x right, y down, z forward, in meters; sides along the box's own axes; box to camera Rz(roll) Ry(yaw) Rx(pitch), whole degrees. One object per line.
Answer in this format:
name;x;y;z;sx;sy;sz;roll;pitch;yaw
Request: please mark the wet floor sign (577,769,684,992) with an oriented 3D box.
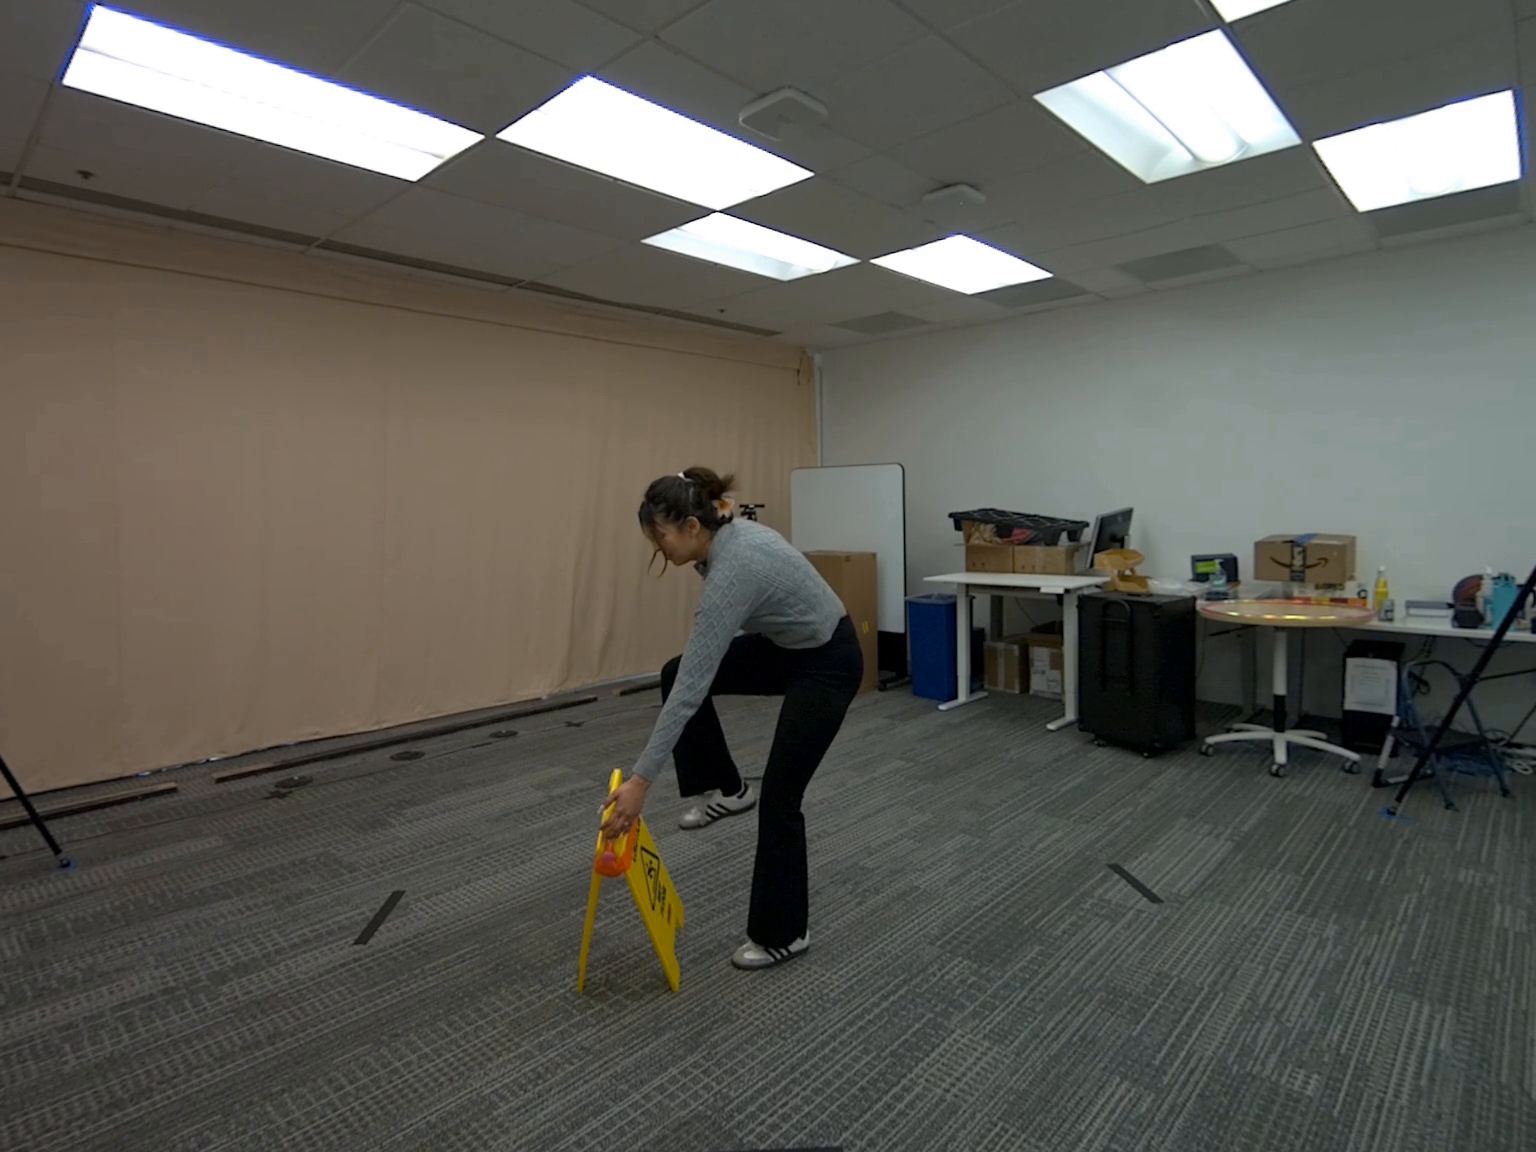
wet floor sign;-0.411;0.856;2.393;0.290;0.636;0.287;-1;27;-1
